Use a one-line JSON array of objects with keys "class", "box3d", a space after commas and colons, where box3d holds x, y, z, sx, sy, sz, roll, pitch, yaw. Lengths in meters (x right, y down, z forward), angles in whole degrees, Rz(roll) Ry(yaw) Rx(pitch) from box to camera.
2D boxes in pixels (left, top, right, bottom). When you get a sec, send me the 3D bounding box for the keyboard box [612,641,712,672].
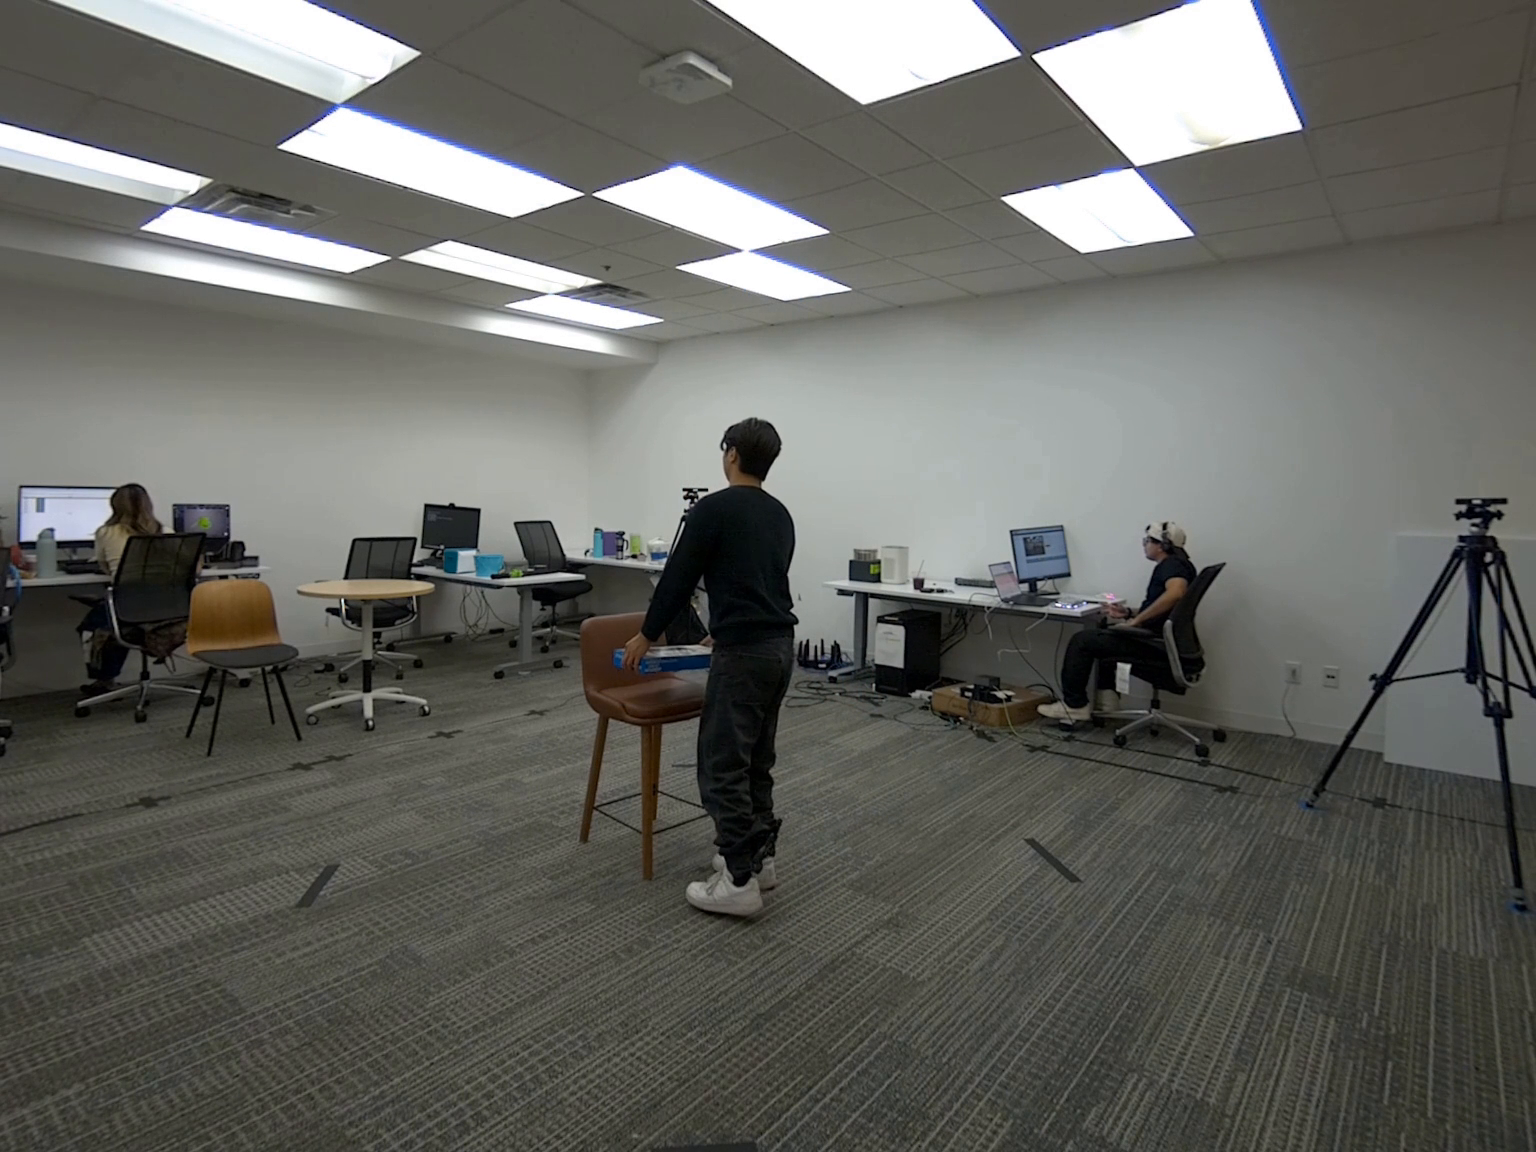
[{"class": "keyboard box", "box3d": [-0.376, 0.306, 3.255, 0.182, 0.059, 0.422, 9, 5, 42]}]
